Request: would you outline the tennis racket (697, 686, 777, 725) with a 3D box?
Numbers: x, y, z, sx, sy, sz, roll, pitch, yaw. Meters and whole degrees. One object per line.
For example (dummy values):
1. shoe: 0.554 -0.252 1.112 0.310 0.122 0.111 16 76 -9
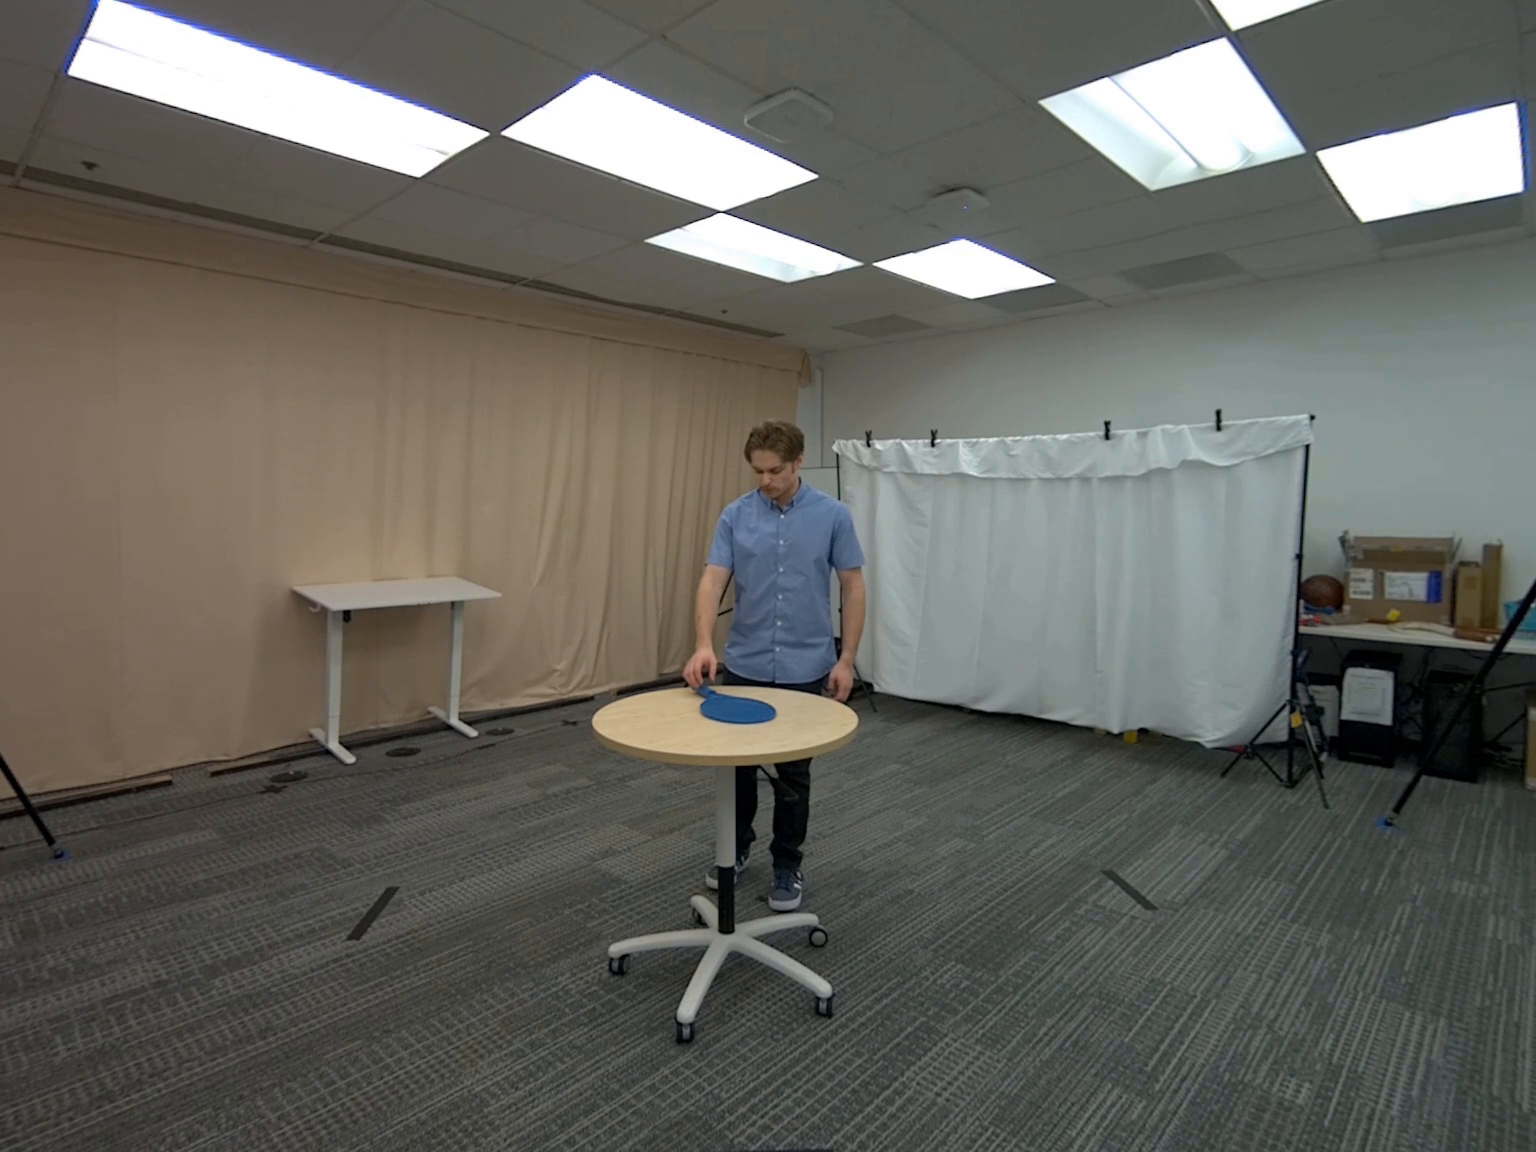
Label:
1. tennis racket: -0.111 0.383 2.550 0.209 0.031 0.445 -4 8 -25
